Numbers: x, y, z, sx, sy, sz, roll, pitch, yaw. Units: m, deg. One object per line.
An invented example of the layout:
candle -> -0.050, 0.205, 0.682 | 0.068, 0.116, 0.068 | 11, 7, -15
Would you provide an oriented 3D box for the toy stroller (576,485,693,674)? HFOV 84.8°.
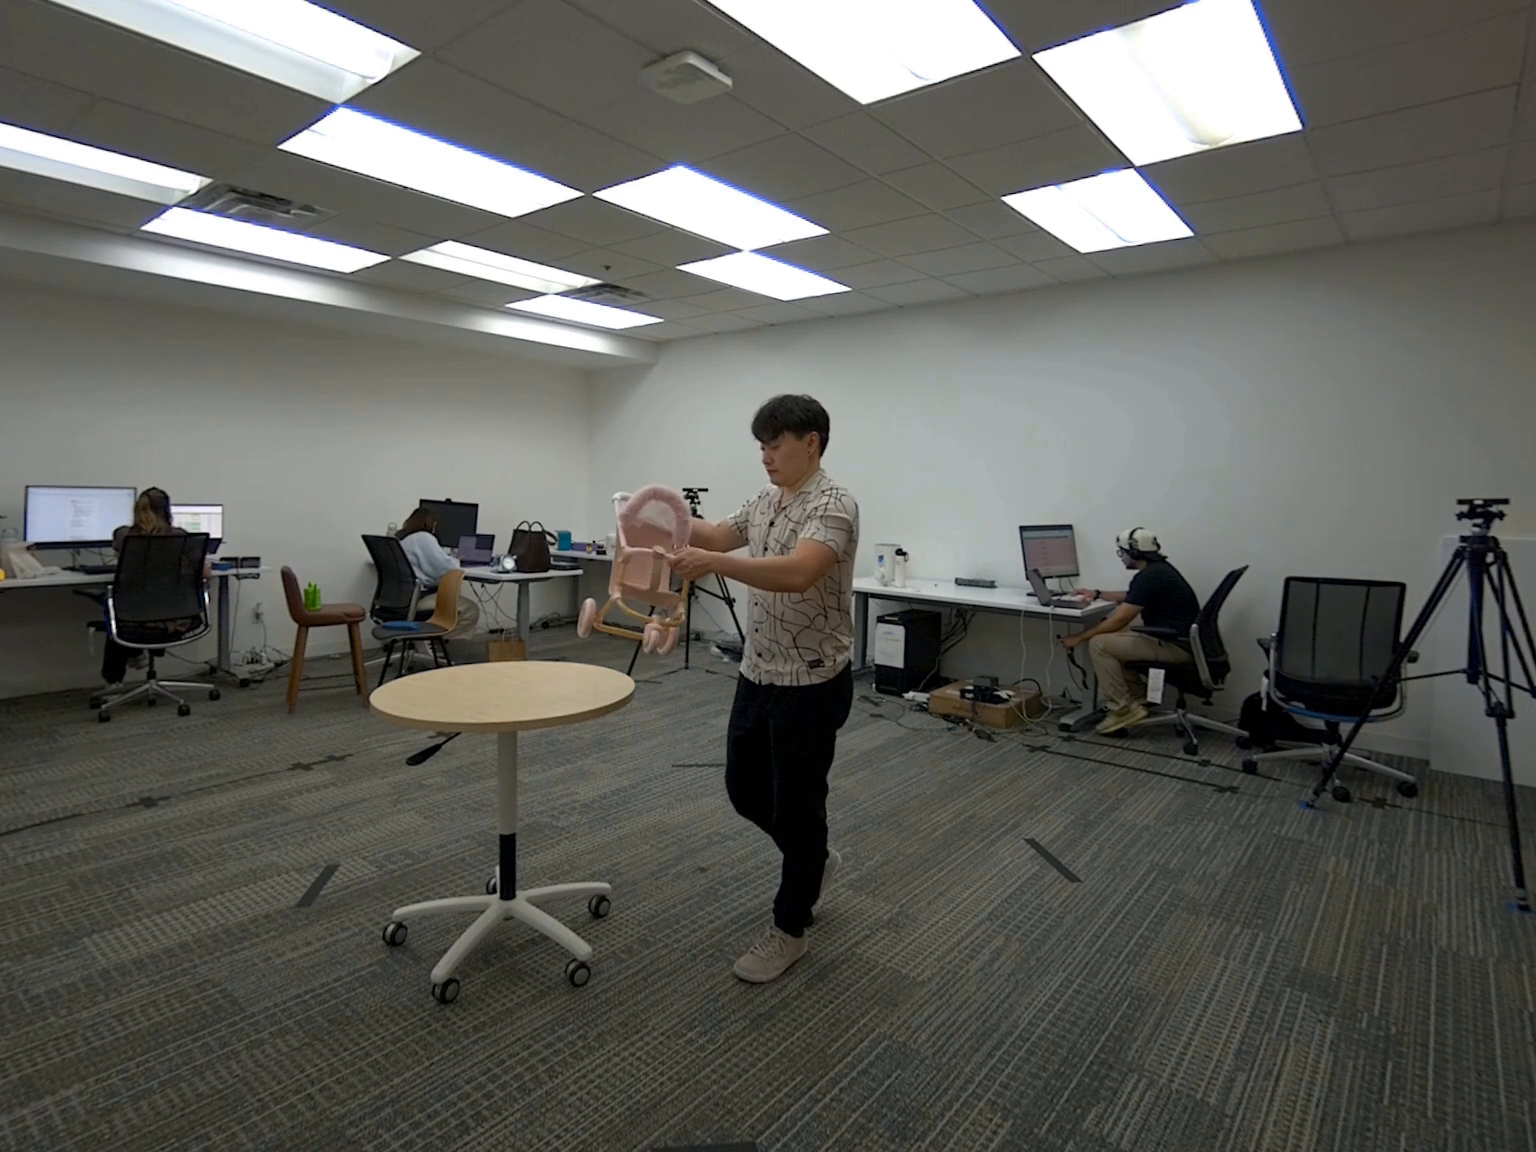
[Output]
toy stroller -> -0.345, -0.021, 2.398 | 0.275, 0.543, 0.344 | 15, -22, -20
